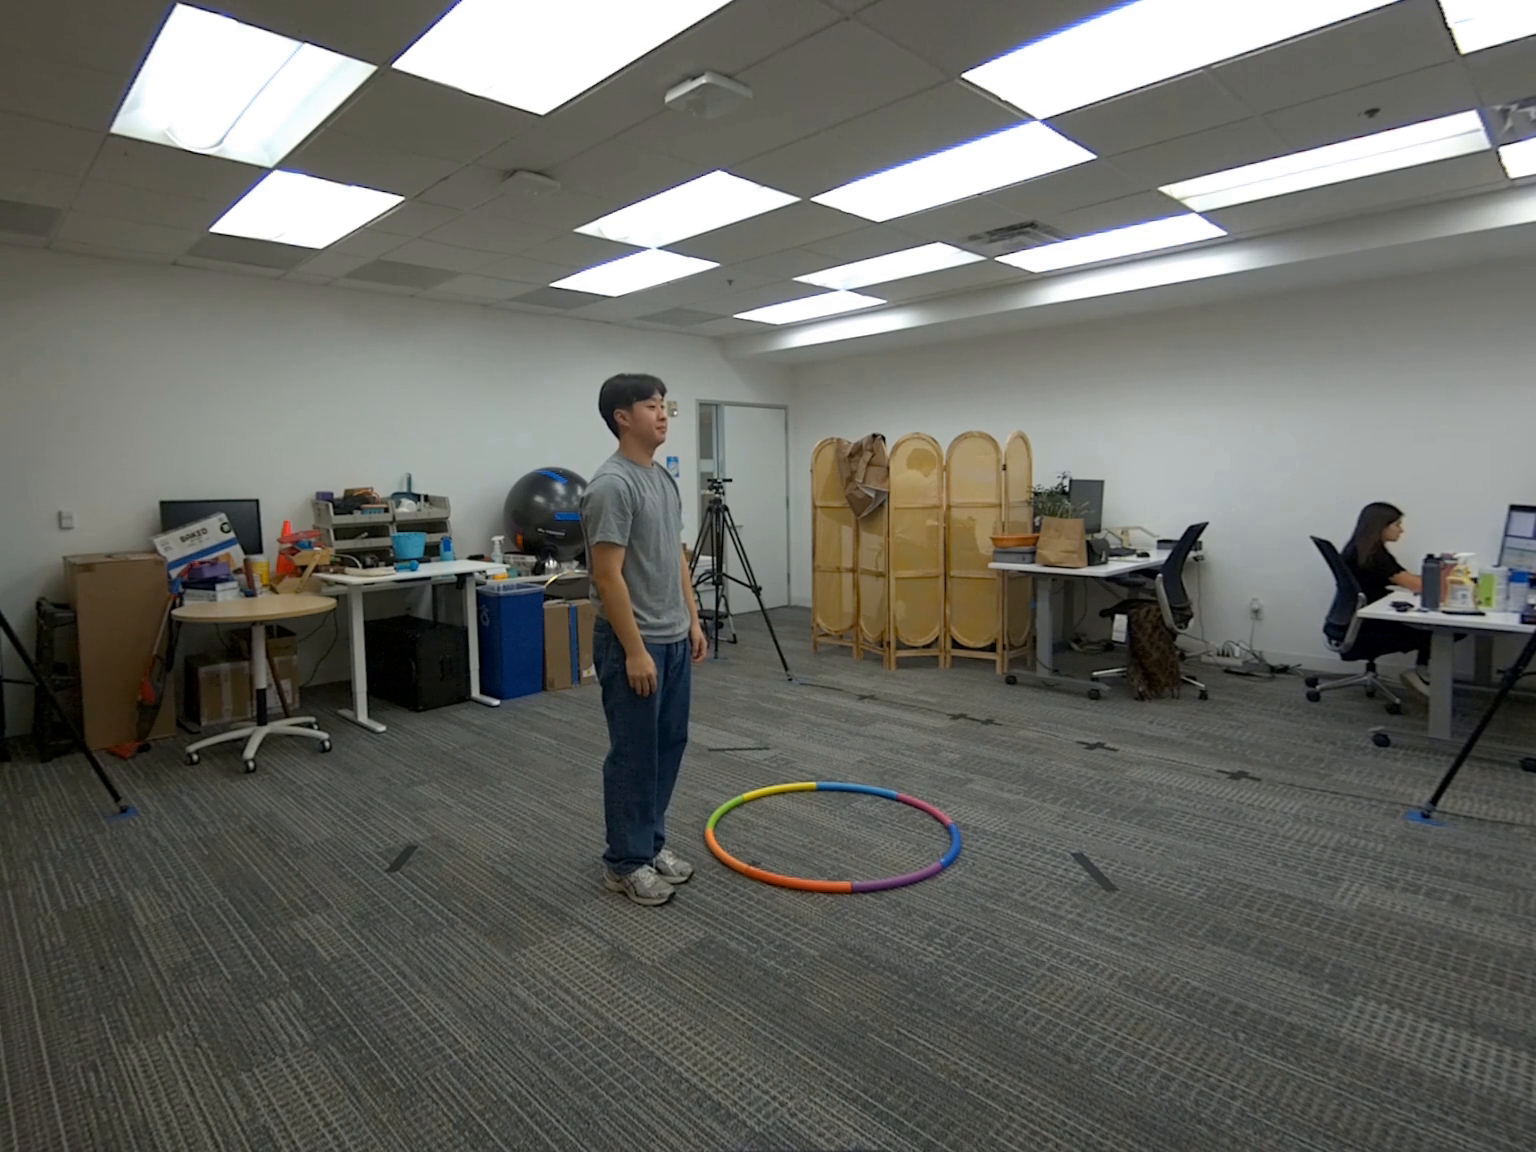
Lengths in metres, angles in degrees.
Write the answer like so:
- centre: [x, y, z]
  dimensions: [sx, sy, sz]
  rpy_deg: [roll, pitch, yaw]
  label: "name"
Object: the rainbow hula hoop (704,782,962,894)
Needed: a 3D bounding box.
- centre: [0.244, 0.983, 3.351]
  dimensions: [0.978, 0.035, 0.984]
  rpy_deg: [-1, 7, -2]
  label: "rainbow hula hoop"
